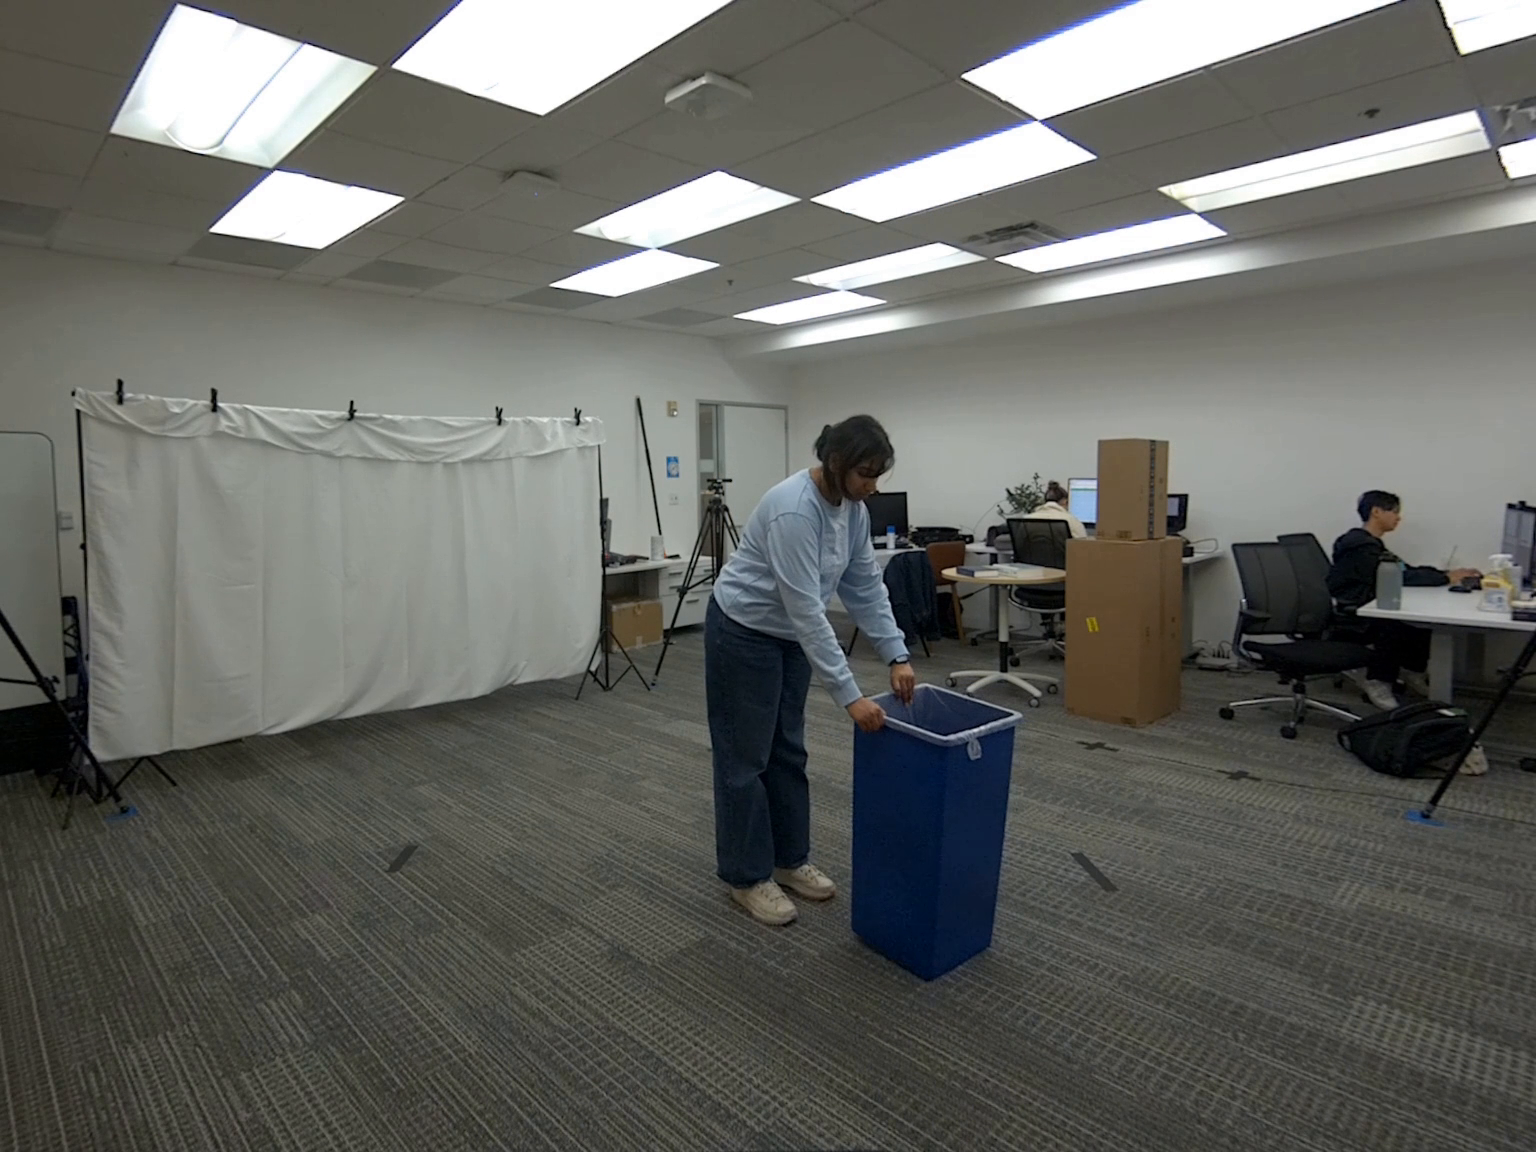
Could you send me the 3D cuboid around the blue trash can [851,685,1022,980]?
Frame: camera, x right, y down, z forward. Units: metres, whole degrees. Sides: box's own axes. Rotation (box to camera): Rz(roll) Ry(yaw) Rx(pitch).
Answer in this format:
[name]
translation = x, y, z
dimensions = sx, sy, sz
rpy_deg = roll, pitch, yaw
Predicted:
[blue trash can]
translation = 0.471, 0.740, 2.520
dimensions = 0.368, 0.709, 0.387
rpy_deg = -4, 10, -41
